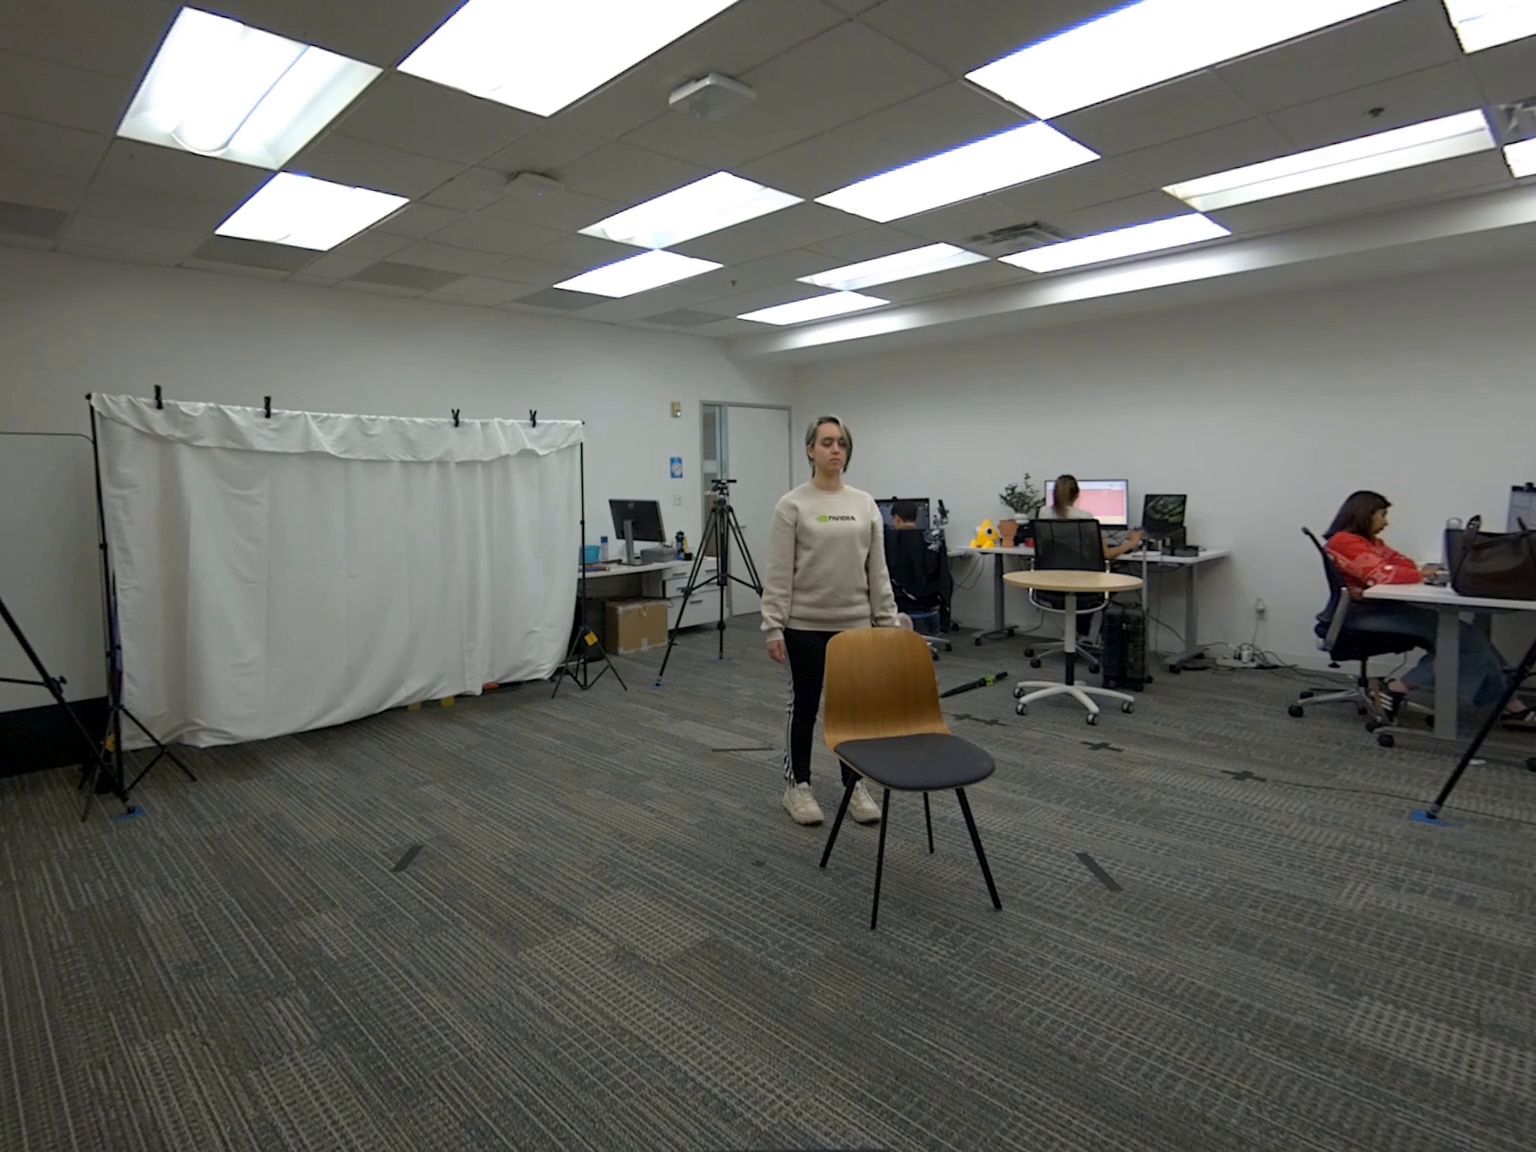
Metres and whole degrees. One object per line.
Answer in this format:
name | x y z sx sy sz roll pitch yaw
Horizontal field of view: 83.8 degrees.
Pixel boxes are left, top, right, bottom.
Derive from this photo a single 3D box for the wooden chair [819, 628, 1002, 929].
wooden chair | 0.458 0.642 2.867 0.471 0.878 0.531 -2 0 -16
